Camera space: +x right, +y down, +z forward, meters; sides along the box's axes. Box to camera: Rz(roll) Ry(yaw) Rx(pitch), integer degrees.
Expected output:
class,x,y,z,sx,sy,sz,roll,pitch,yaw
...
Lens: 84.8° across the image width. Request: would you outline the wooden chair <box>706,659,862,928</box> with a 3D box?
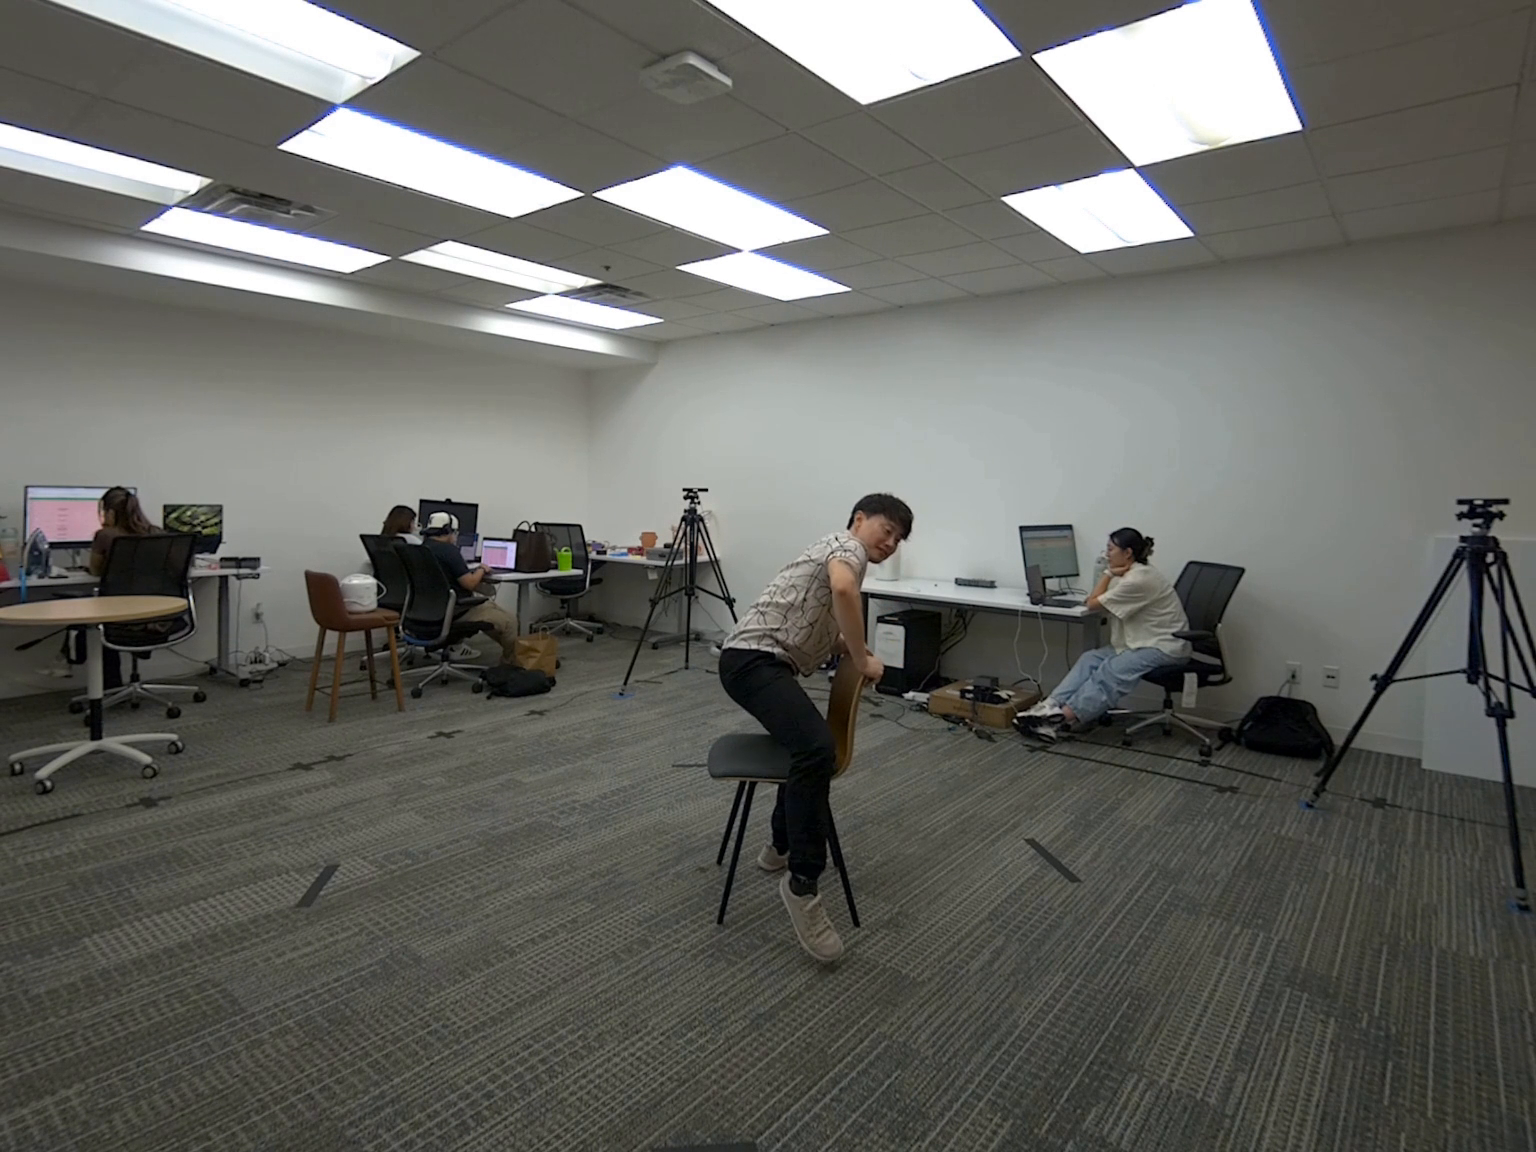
class,x,y,z,sx,sy,sz,roll,pitch,yaw
wooden chair,0.046,0.671,2.905,0.522,0.875,0.480,6,3,-3
